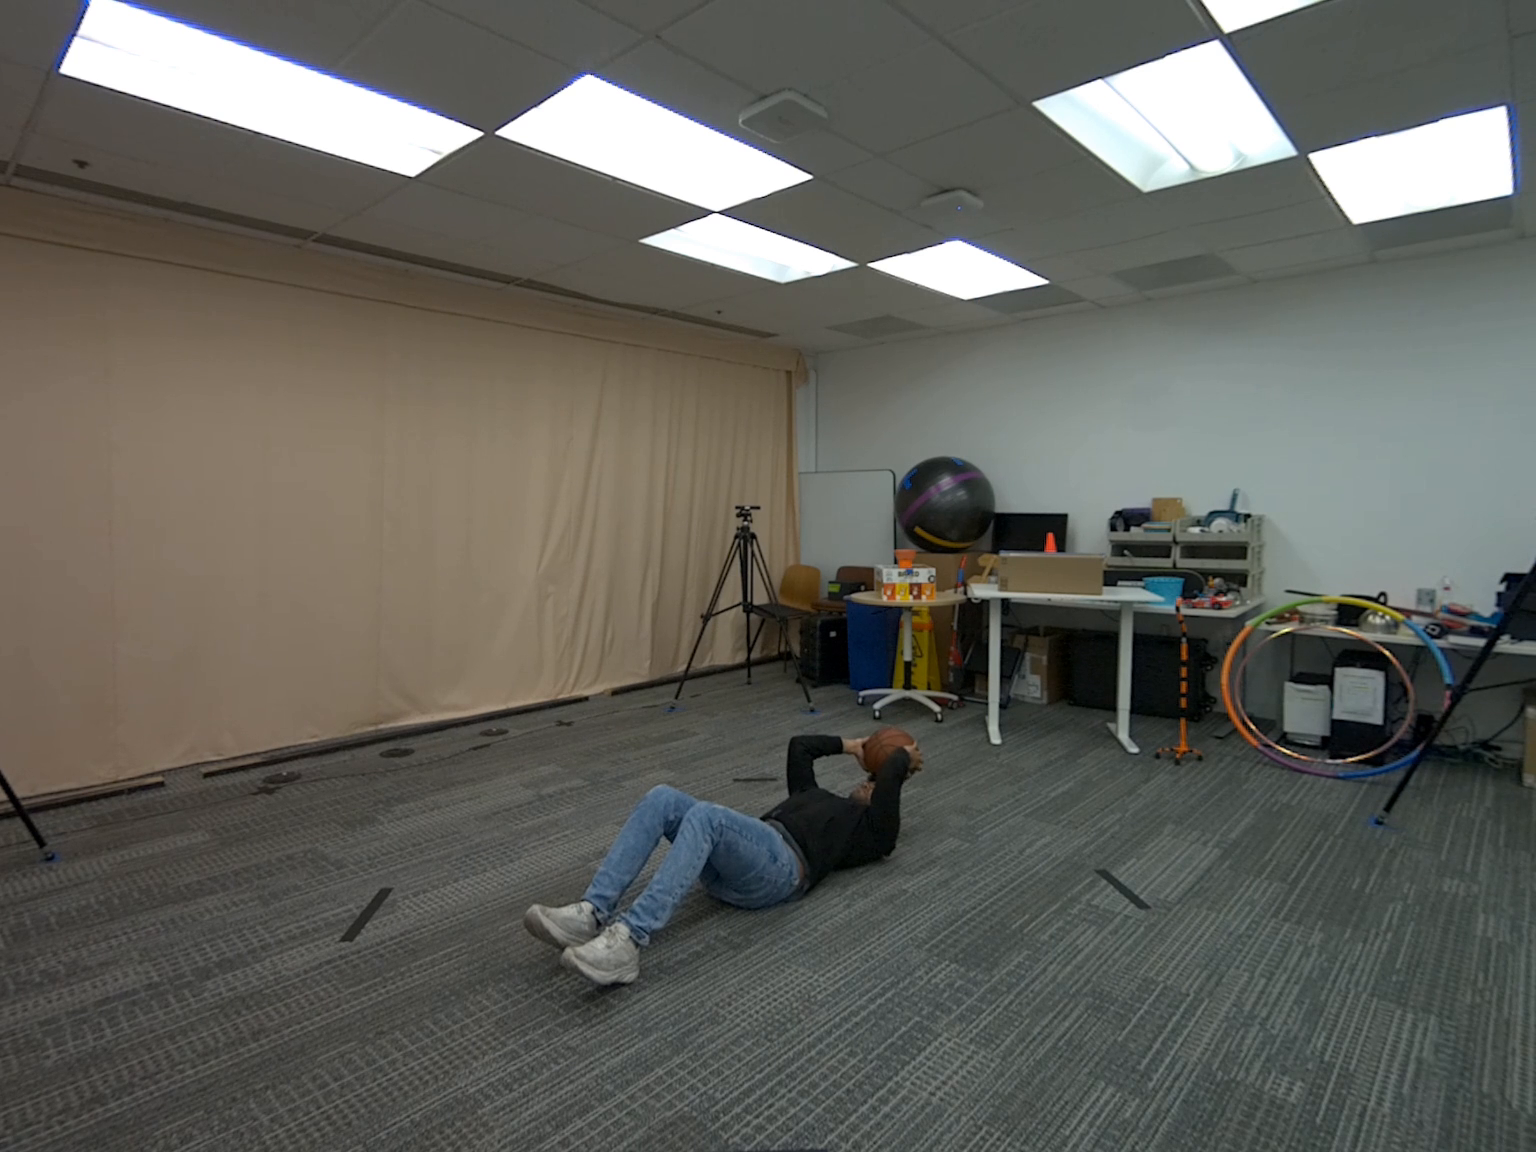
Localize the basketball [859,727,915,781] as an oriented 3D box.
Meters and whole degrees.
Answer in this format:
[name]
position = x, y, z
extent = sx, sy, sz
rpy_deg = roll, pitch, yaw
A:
[basketball]
position = 0.536, 0.772, 3.666
extent = 0.236, 0.235, 0.237
rpy_deg = 0, 4, -2
